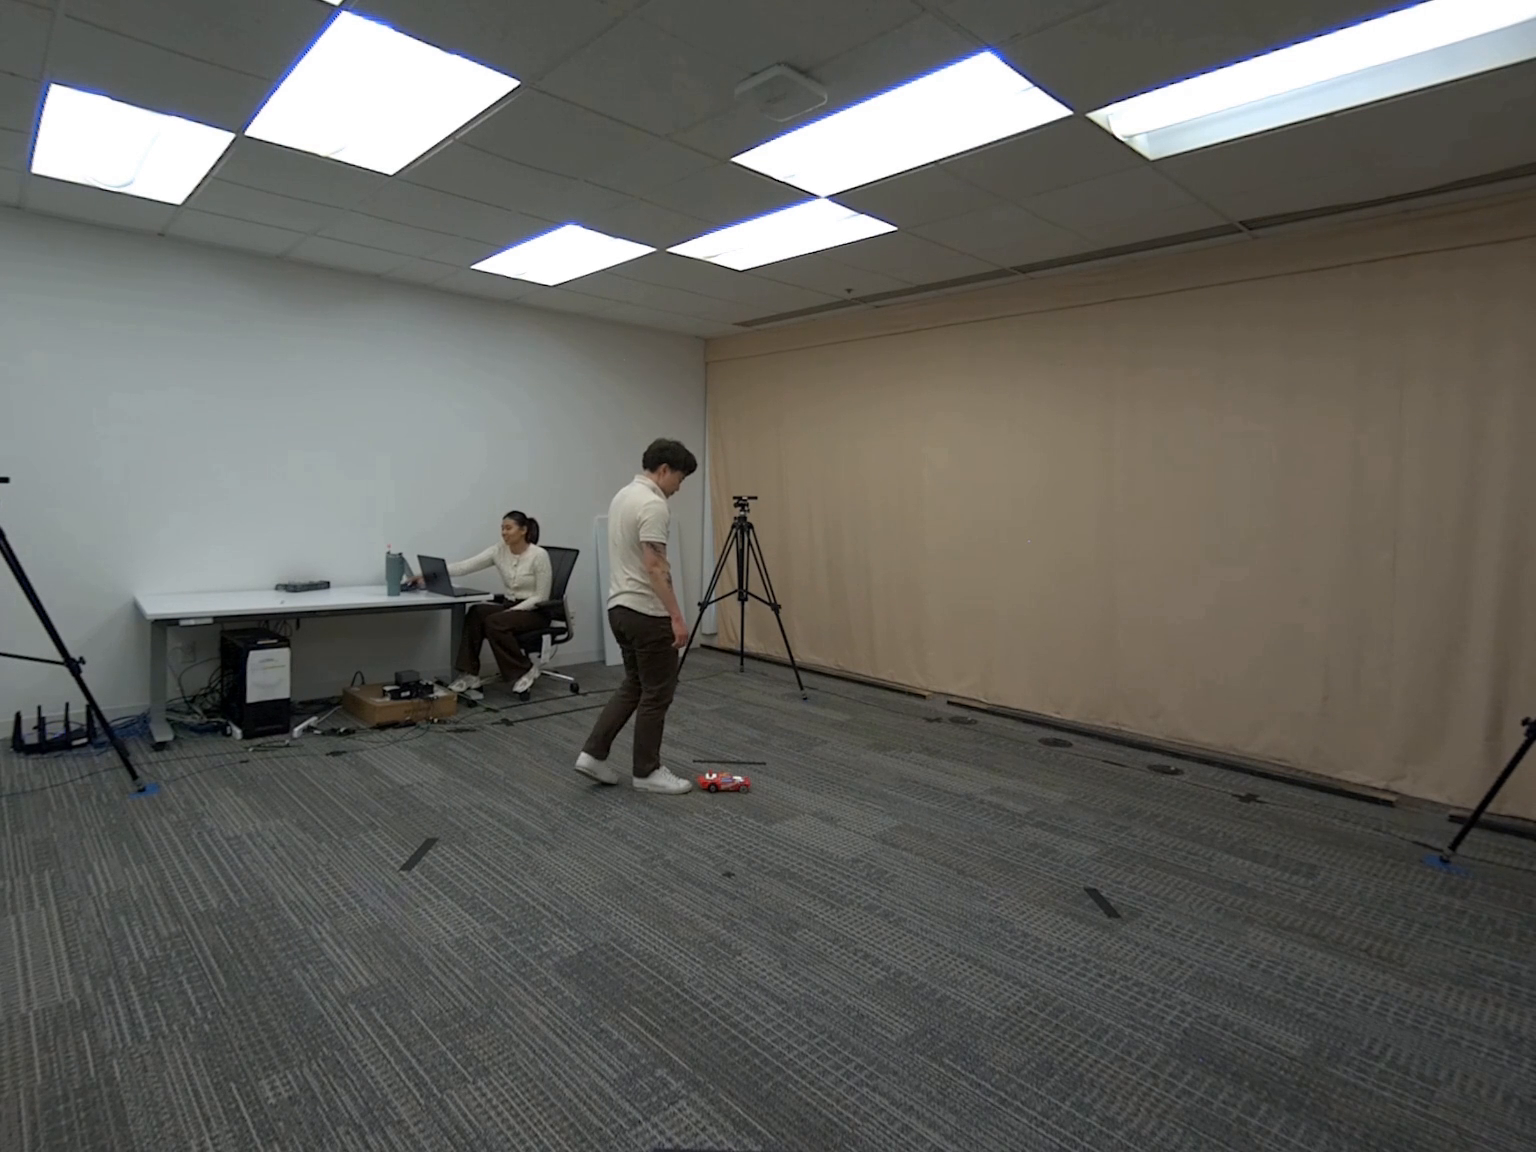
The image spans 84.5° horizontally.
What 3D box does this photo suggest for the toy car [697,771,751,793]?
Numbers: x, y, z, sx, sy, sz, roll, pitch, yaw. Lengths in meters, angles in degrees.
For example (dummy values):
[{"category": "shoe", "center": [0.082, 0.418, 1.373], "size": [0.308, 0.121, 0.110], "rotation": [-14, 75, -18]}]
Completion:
[{"category": "toy car", "center": [-0.233, 0.988, 4.035], "size": [0.253, 0.083, 0.131], "rotation": [13, 4, -5]}]
